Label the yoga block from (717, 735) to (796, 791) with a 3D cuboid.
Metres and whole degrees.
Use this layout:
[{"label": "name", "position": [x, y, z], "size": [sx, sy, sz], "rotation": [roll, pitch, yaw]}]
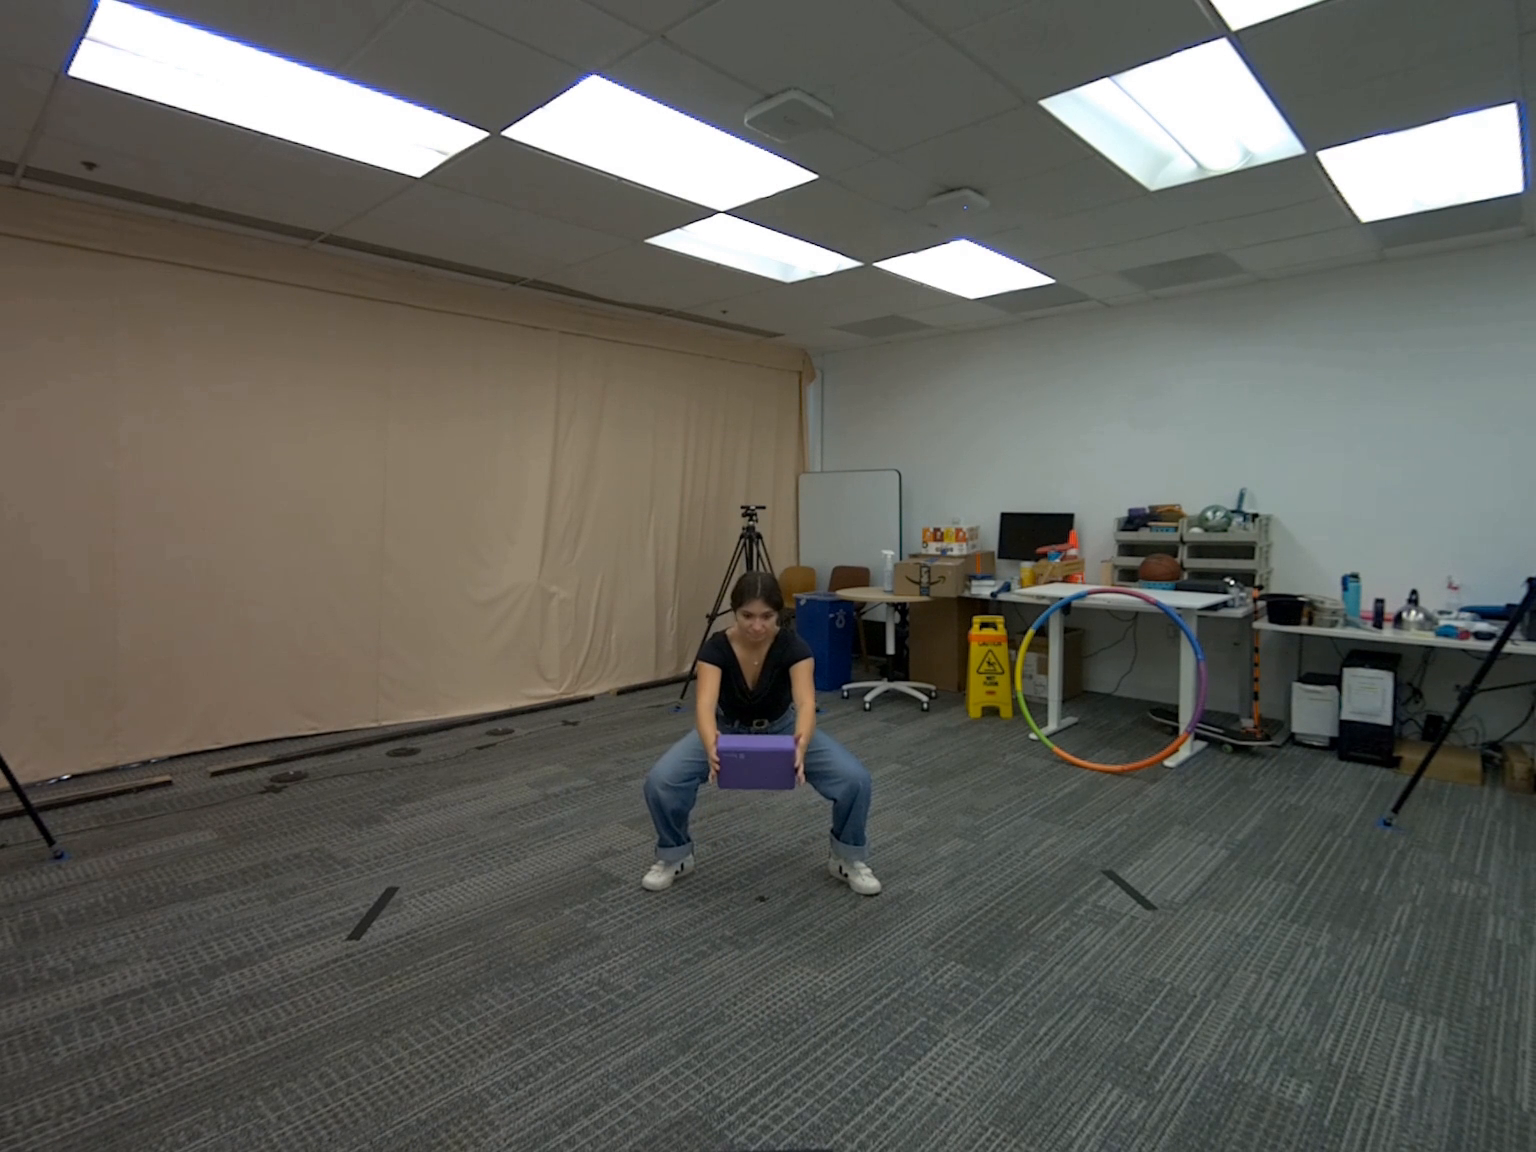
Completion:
[{"label": "yoga block", "position": [-0.030, 0.533, 2.484], "size": [0.230, 0.147, 0.077], "rotation": [0, 19, 3]}]
